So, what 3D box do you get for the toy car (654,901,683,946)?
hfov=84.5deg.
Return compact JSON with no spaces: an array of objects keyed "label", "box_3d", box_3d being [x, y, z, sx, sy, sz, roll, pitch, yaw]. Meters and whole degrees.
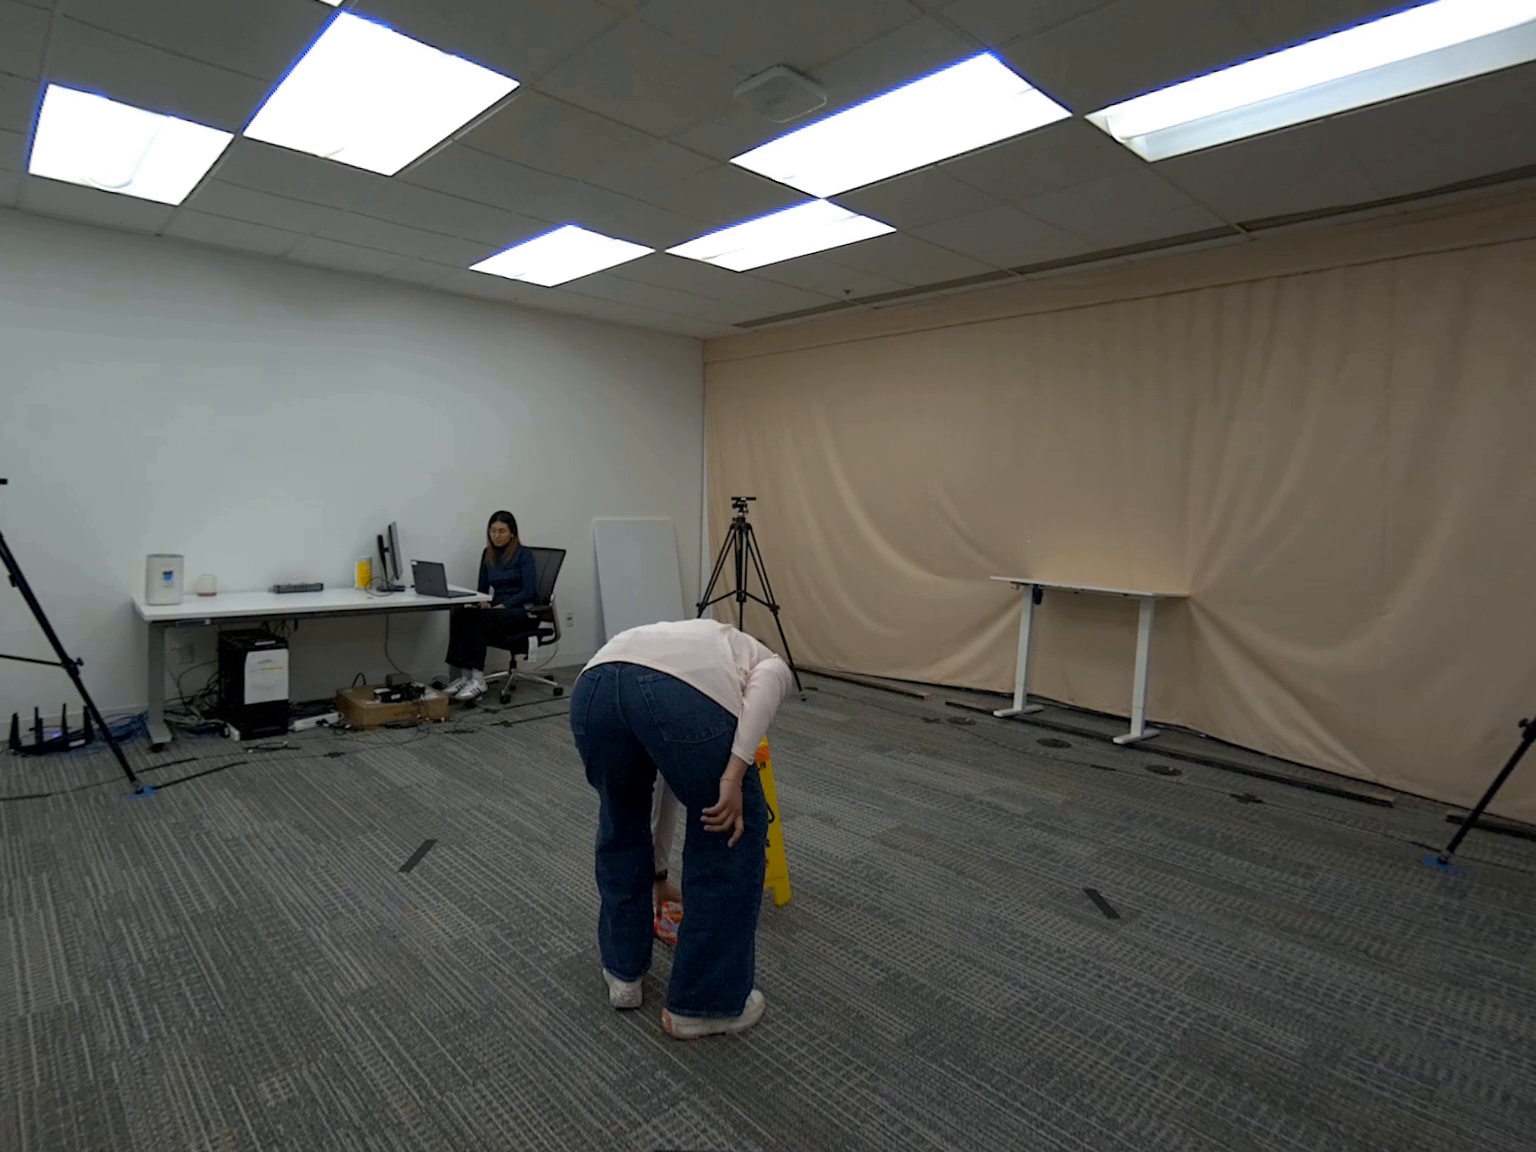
[{"label":"toy car","box_3d":[-0.300,1.111,2.652,0.127,0.082,0.262,-5,16,-35]}]
